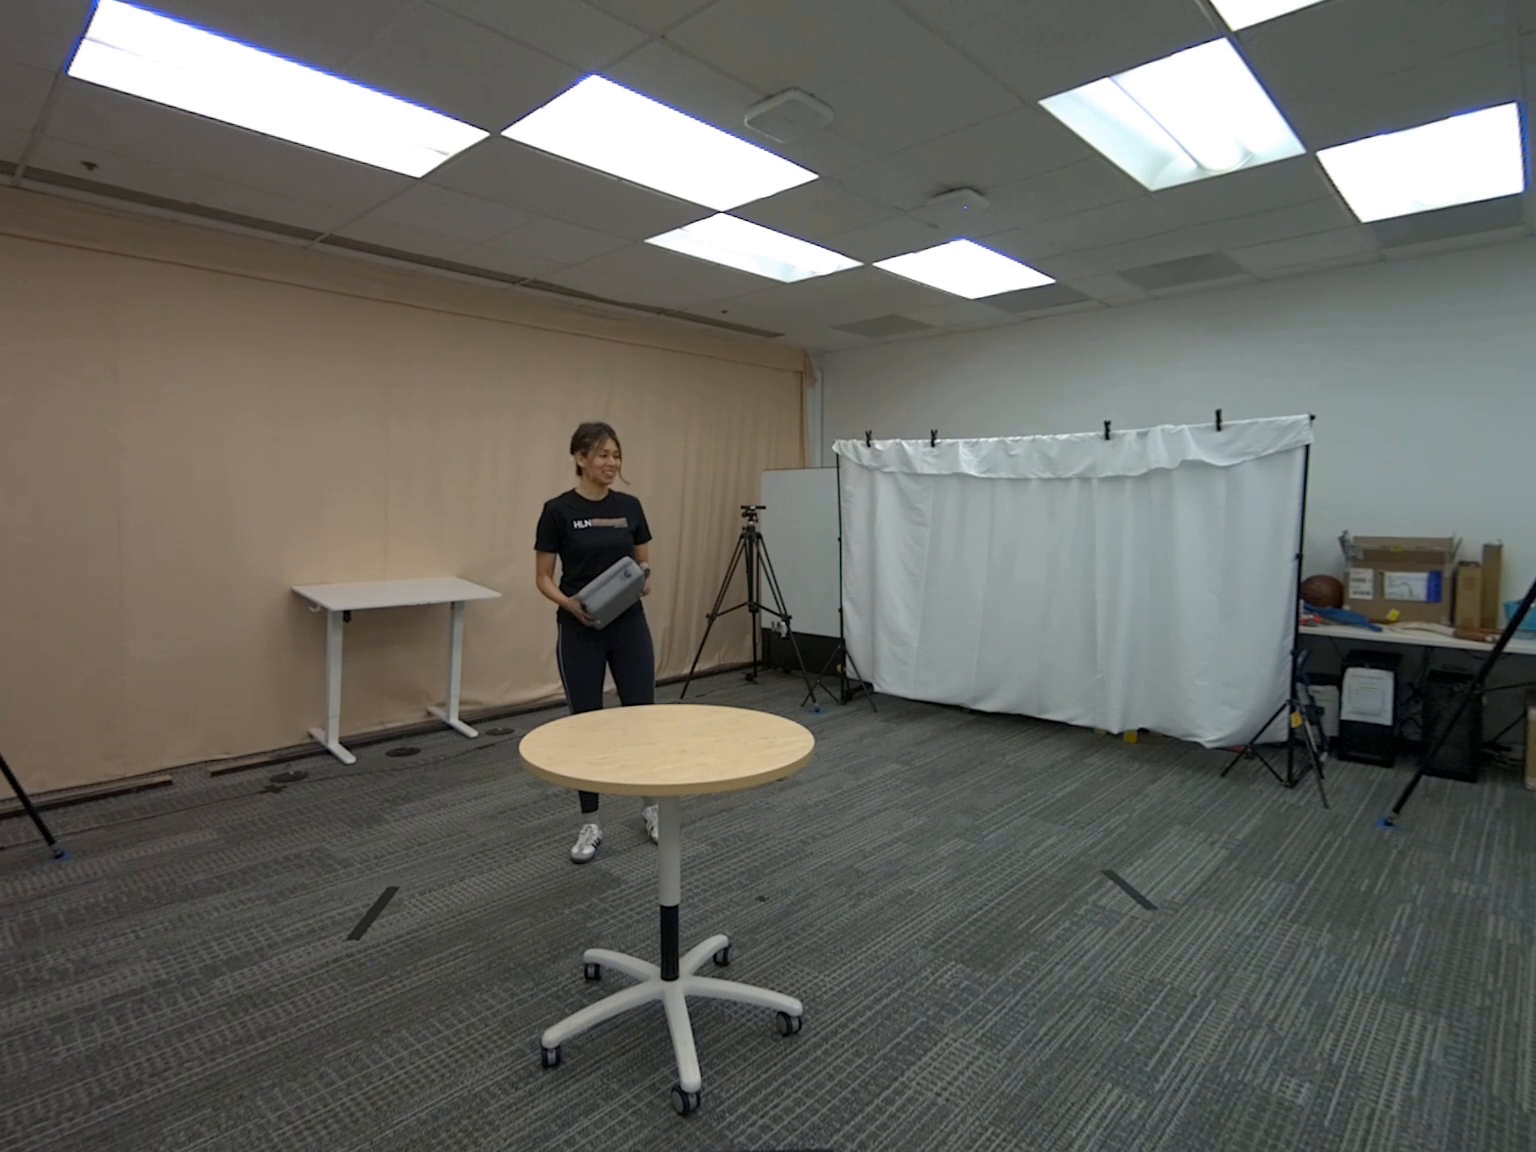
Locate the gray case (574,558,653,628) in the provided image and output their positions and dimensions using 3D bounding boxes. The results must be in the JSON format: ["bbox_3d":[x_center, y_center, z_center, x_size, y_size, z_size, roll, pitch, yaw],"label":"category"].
[{"bbox_3d":[-0.577,0.064,3.171,0.259,0.106,0.254,-41,-12,-13],"label":"gray case"}]
